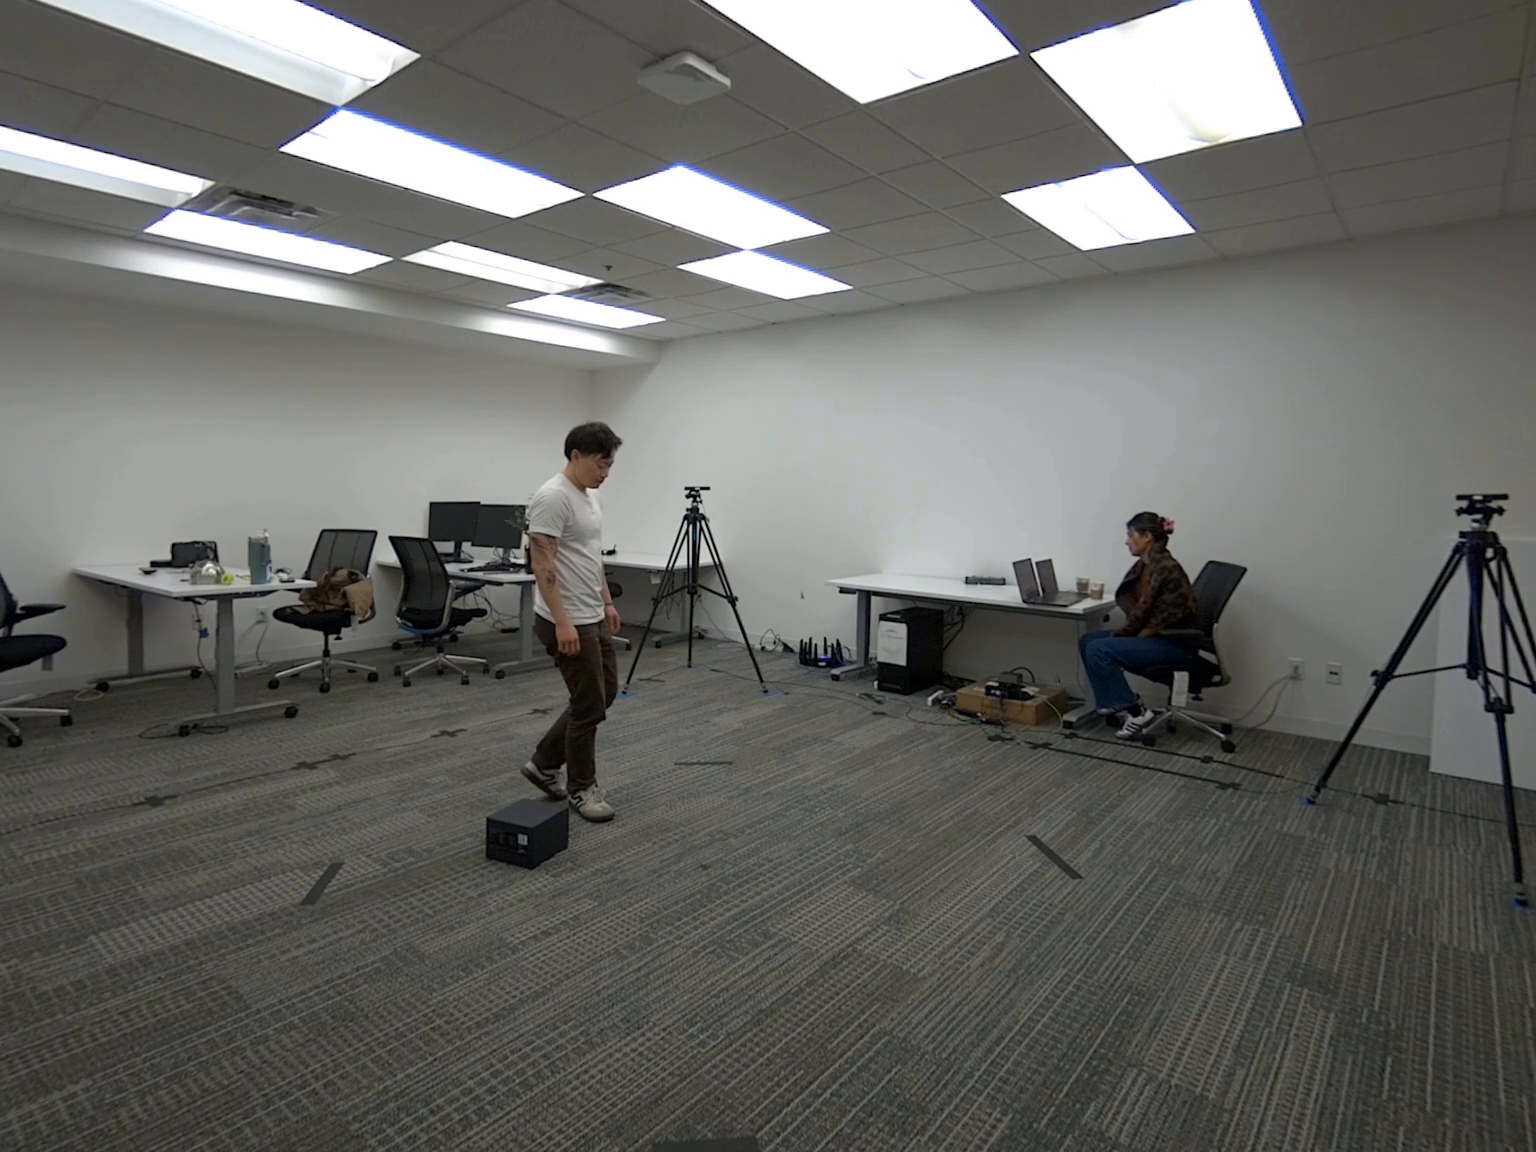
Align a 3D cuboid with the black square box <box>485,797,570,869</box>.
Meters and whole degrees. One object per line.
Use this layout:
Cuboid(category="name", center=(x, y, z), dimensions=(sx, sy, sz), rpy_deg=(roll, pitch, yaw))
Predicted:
Cuboid(category="black square box", center=(-0.922, 0.963, 3.211), dimensions=(0.222, 0.155, 0.223), rpy_deg=(3, 6, 23))
